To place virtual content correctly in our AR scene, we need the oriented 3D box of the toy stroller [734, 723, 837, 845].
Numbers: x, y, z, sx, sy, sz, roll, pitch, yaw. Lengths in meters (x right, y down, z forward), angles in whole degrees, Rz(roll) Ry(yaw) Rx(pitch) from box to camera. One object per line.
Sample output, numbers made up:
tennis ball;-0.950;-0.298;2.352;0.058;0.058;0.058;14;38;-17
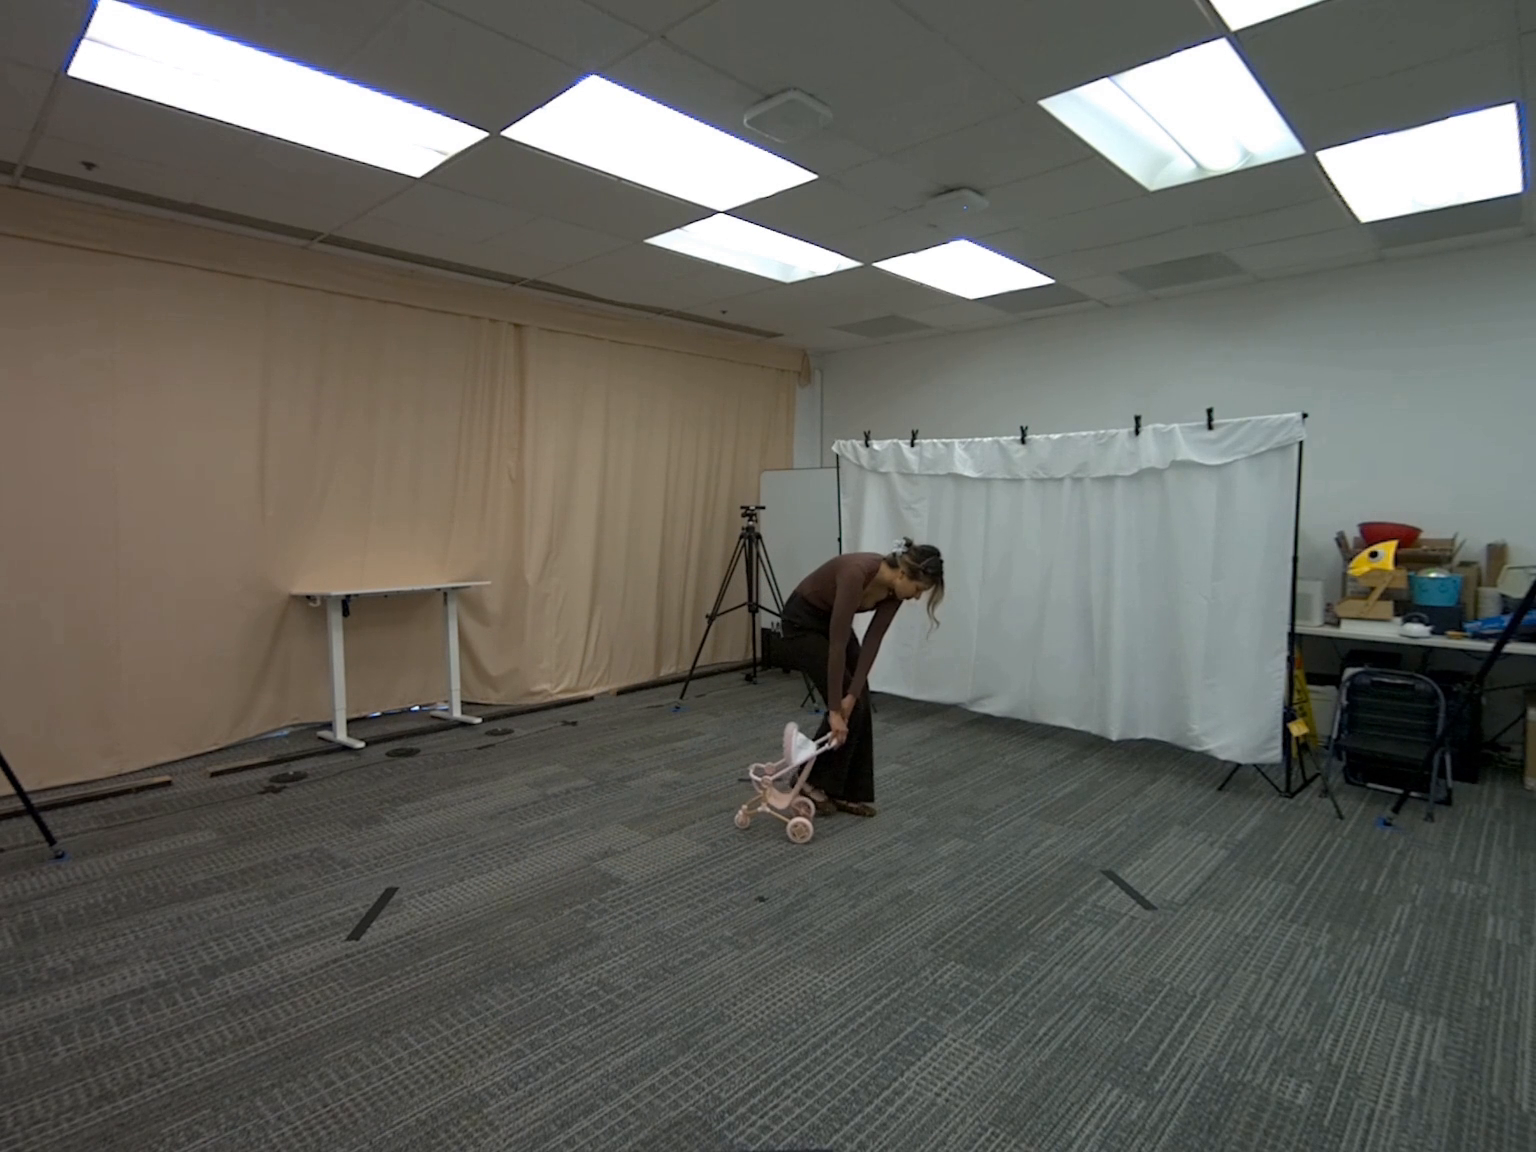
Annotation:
toy stroller;0.079;0.866;3.597;0.346;0.534;0.278;18;6;11
